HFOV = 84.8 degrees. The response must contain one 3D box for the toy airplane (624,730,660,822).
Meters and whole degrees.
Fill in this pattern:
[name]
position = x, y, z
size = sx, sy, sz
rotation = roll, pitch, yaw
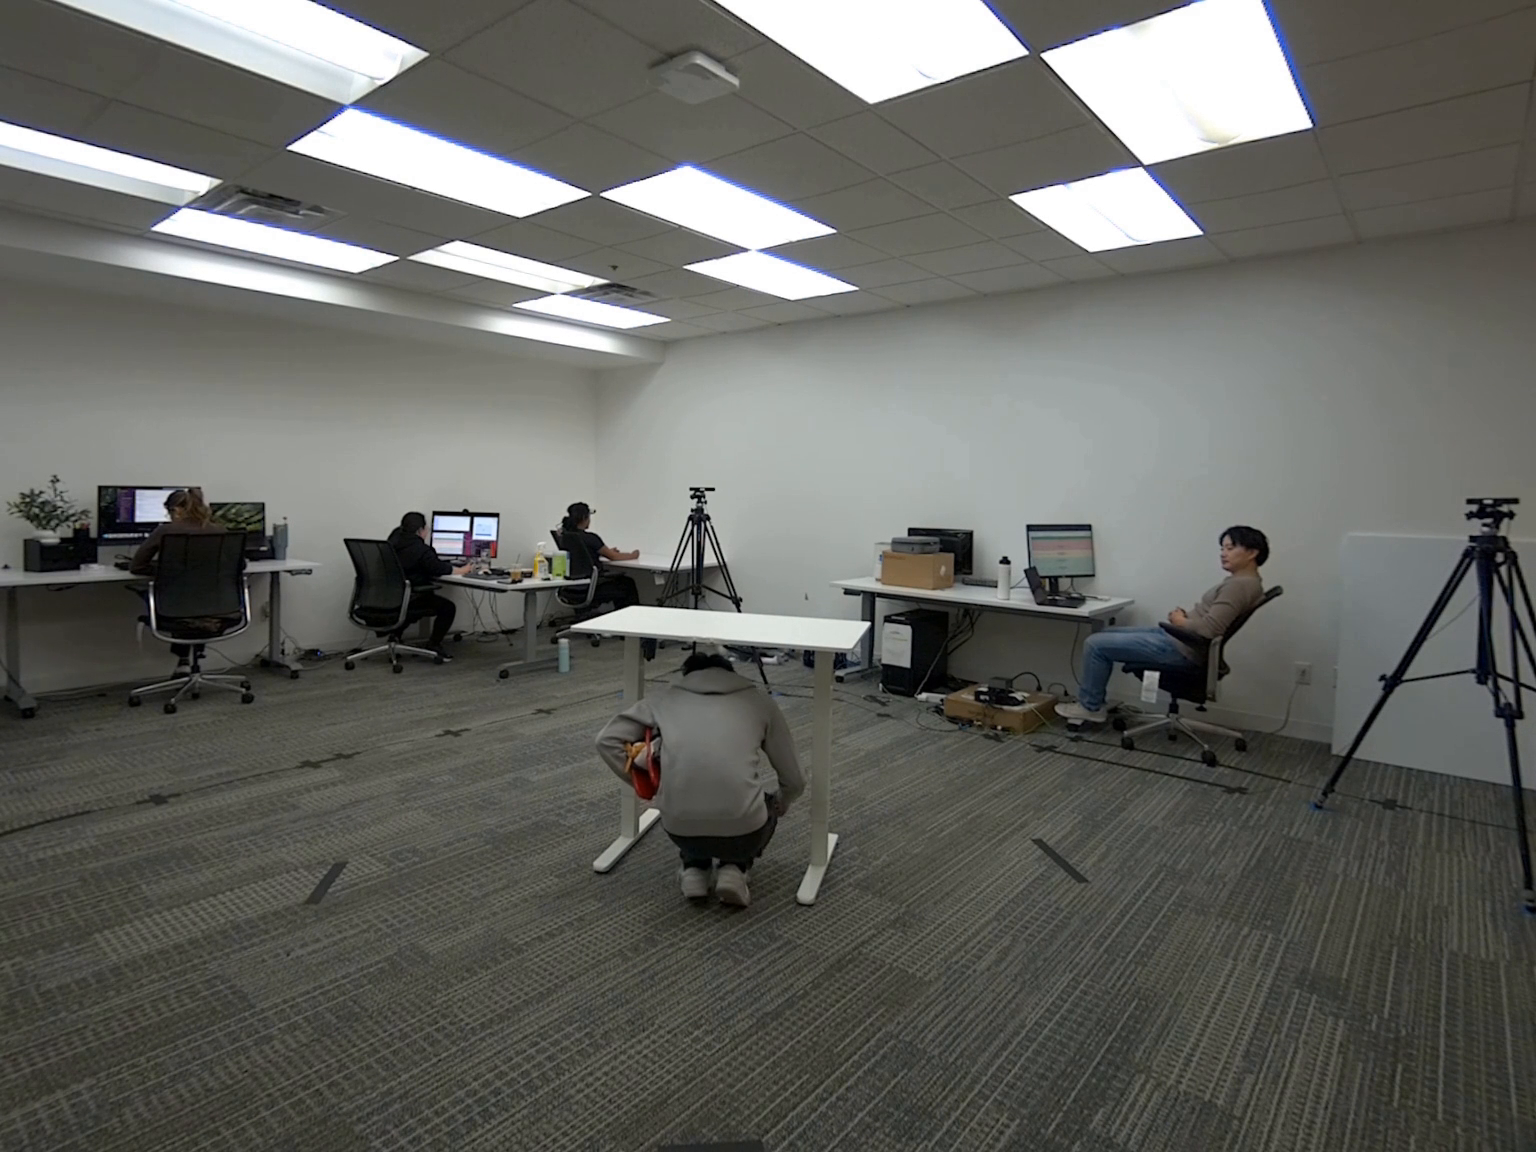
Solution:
[toy airplane]
position = -0.363, 0.646, 2.880
size = 0.256, 0.251, 0.159
rotation = -23, 2, -24
